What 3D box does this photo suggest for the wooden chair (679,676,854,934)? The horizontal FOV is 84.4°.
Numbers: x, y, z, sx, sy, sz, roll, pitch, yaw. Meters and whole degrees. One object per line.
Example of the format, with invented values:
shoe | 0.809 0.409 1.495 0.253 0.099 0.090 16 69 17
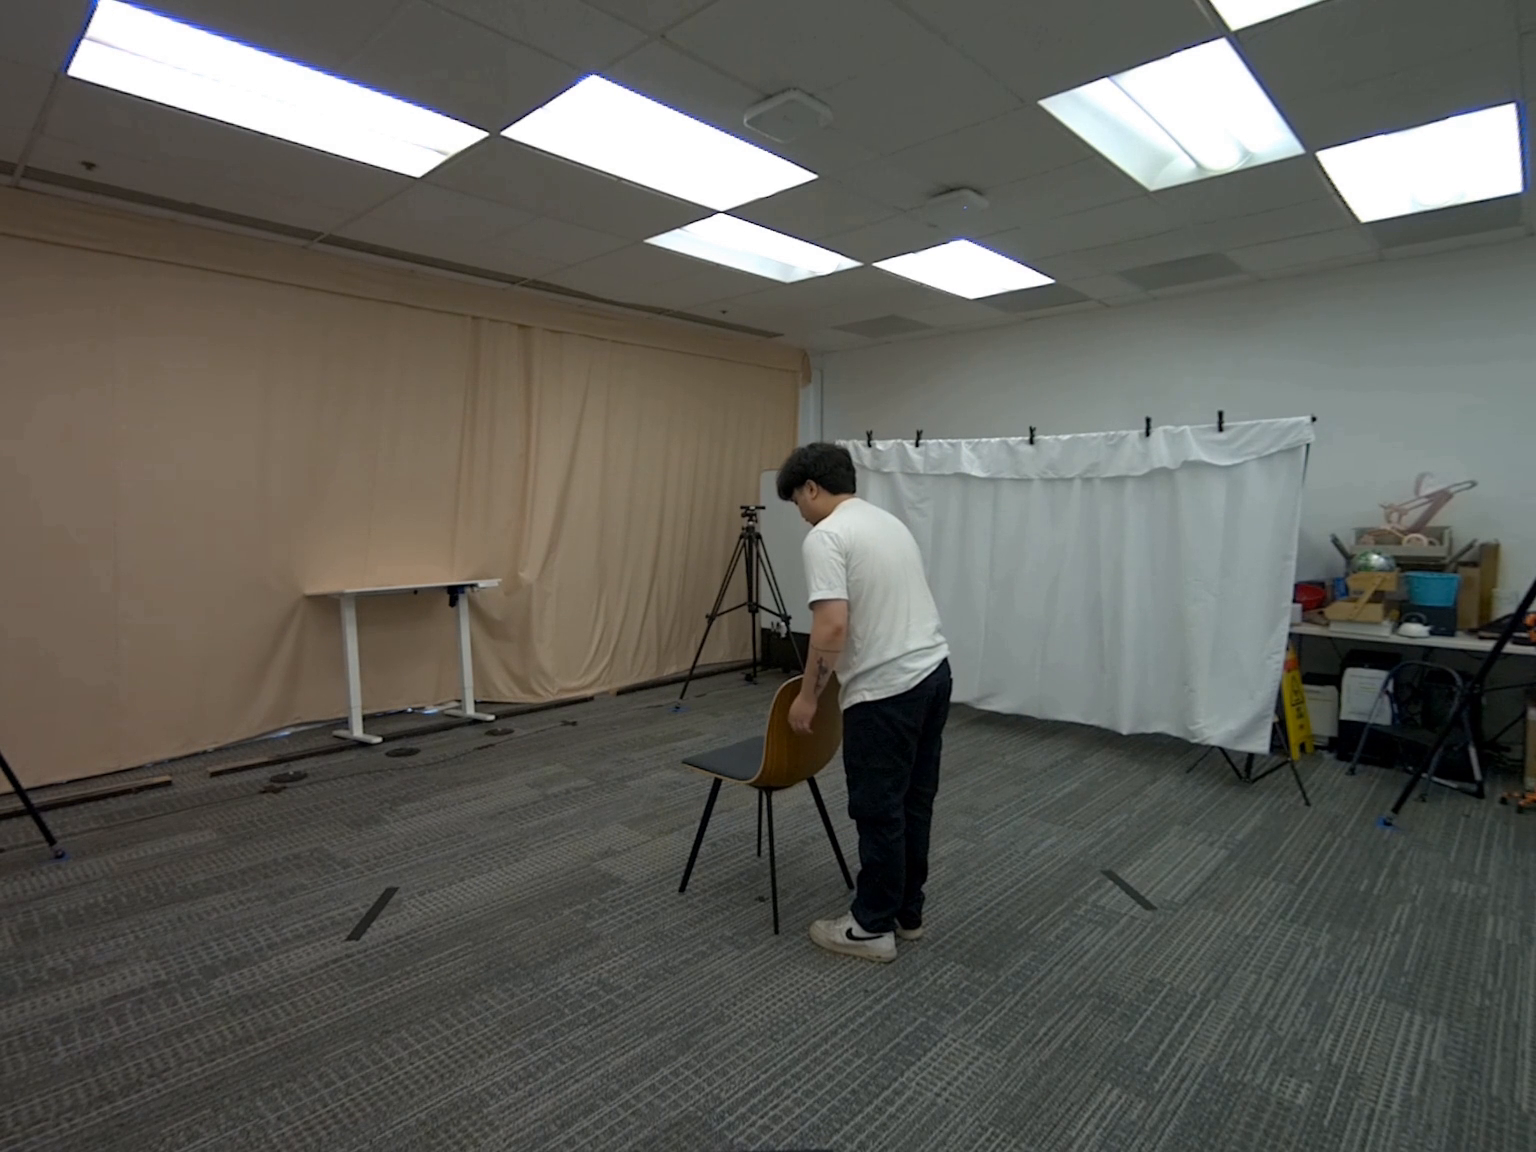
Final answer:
wooden chair | -0.012 0.713 3.025 0.541 0.874 0.463 8 8 41
